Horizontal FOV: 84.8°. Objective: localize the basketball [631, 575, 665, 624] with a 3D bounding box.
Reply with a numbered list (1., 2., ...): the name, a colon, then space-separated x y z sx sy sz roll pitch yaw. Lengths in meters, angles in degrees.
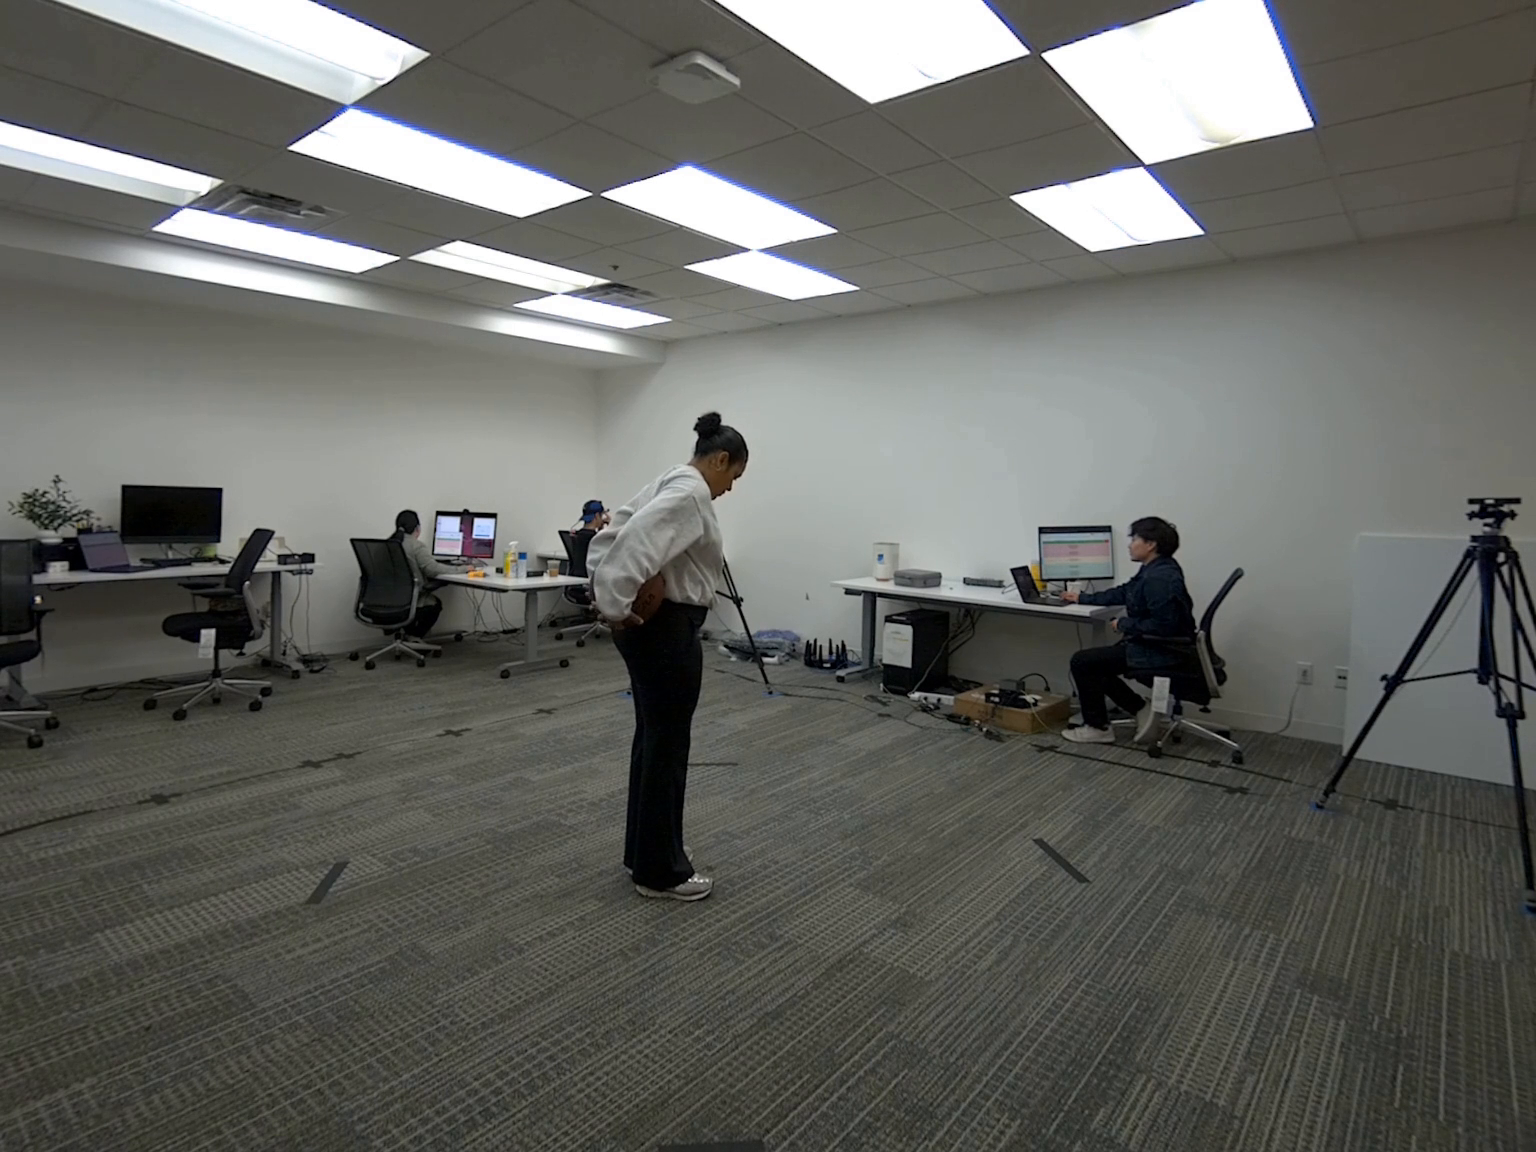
1. basketball: -0.452 0.035 2.717 0.235 0.235 0.237 1 4 -2
